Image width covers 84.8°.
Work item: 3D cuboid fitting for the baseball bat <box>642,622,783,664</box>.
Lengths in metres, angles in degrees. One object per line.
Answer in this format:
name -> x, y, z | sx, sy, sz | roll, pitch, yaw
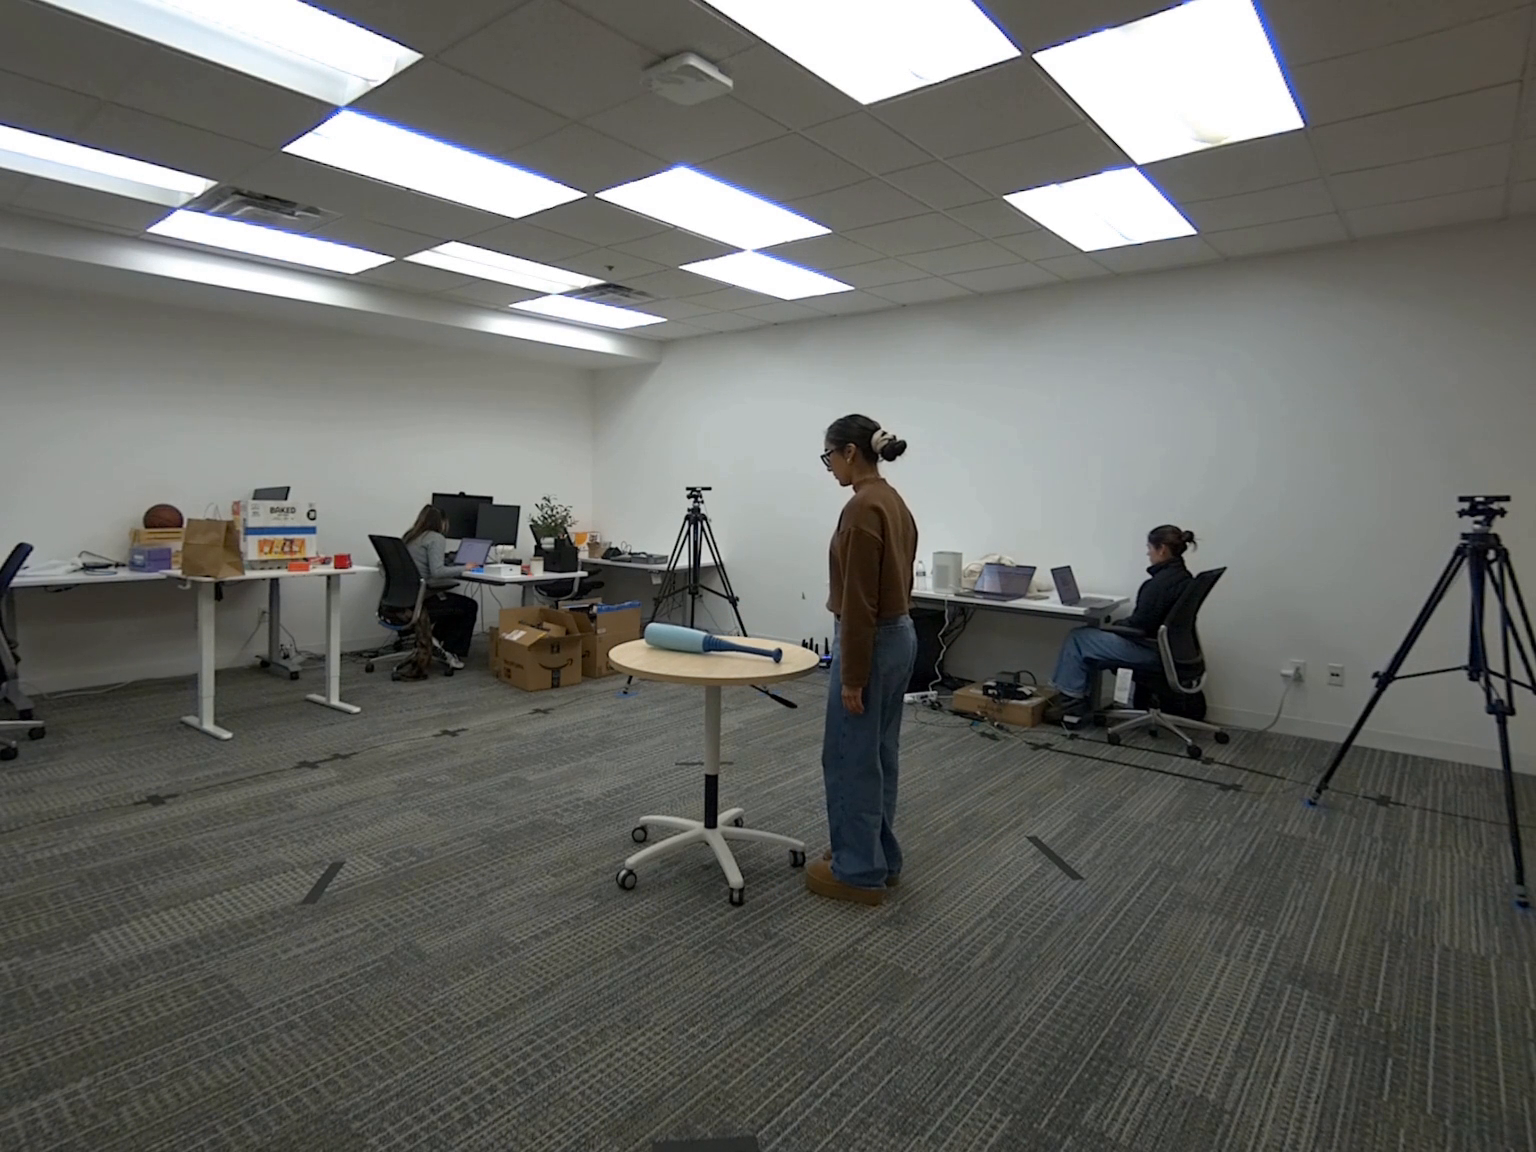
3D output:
baseball bat -> -0.214, 0.254, 3.093 | 0.558, 0.088, 0.087 | 8, 7, 25
